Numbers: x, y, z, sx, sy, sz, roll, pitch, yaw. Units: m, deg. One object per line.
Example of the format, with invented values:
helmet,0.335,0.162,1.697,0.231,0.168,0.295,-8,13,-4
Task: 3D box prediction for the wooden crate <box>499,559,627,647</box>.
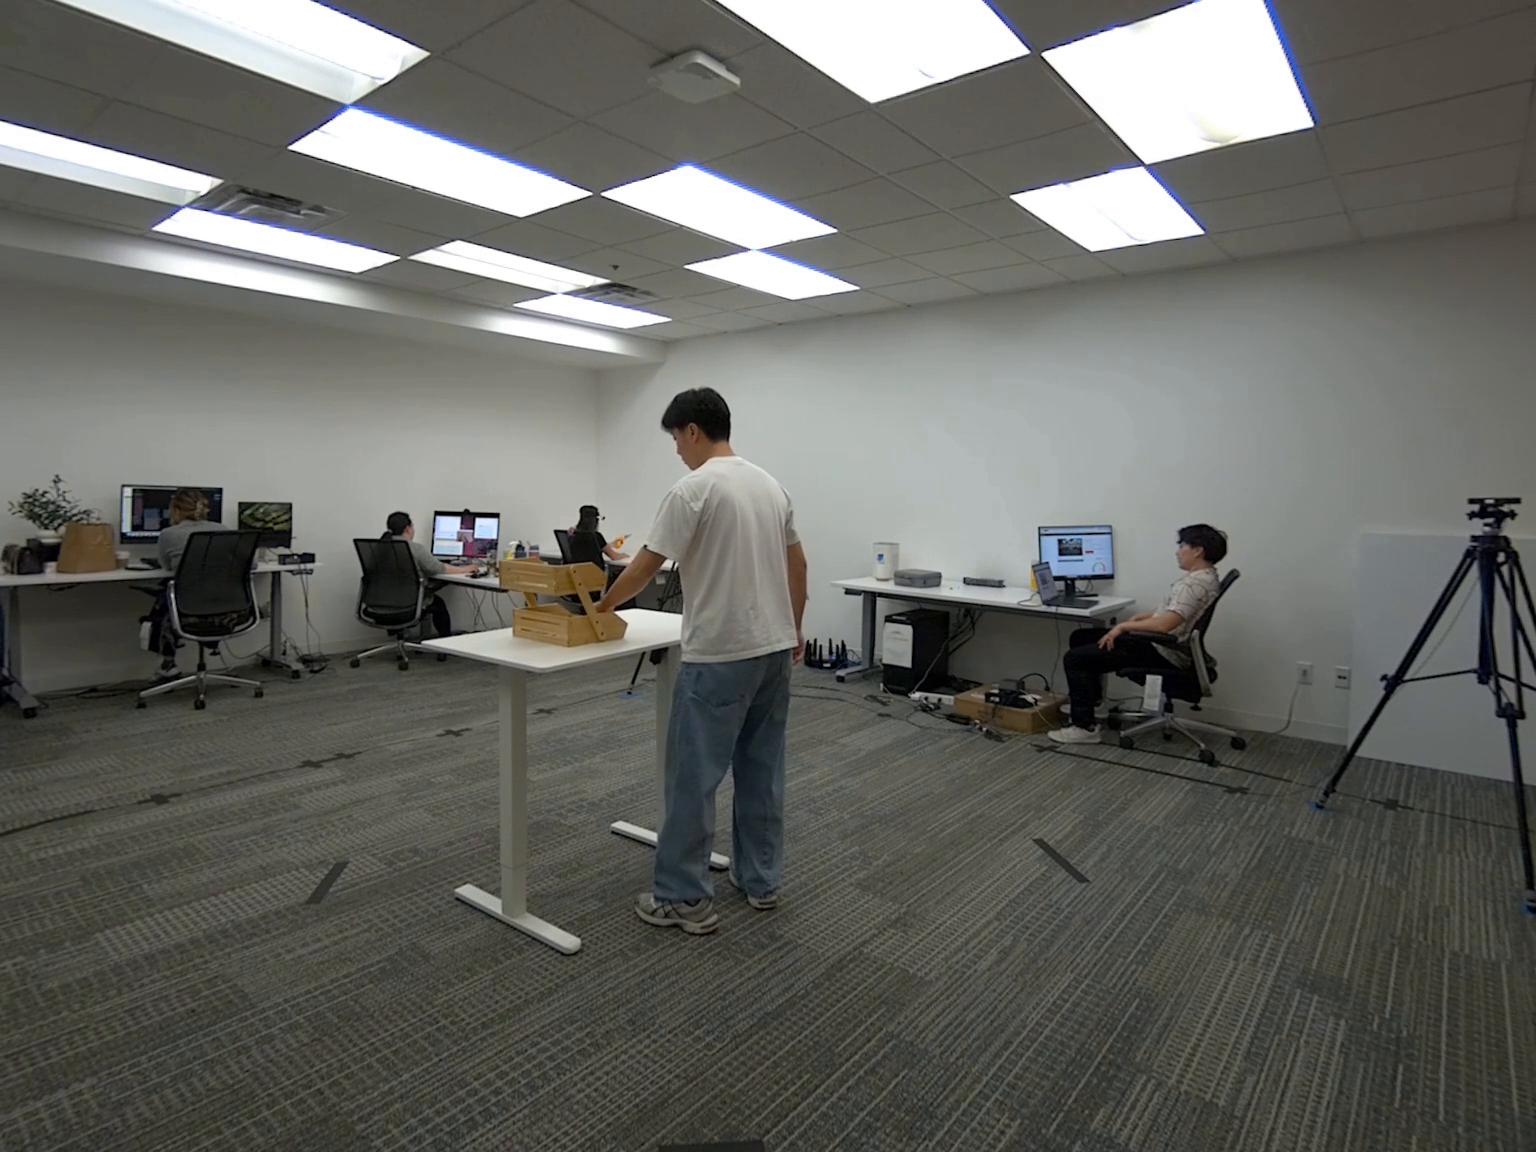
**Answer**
wooden crate,-0.692,0.071,2.832,0.335,0.272,0.293,4,7,39
